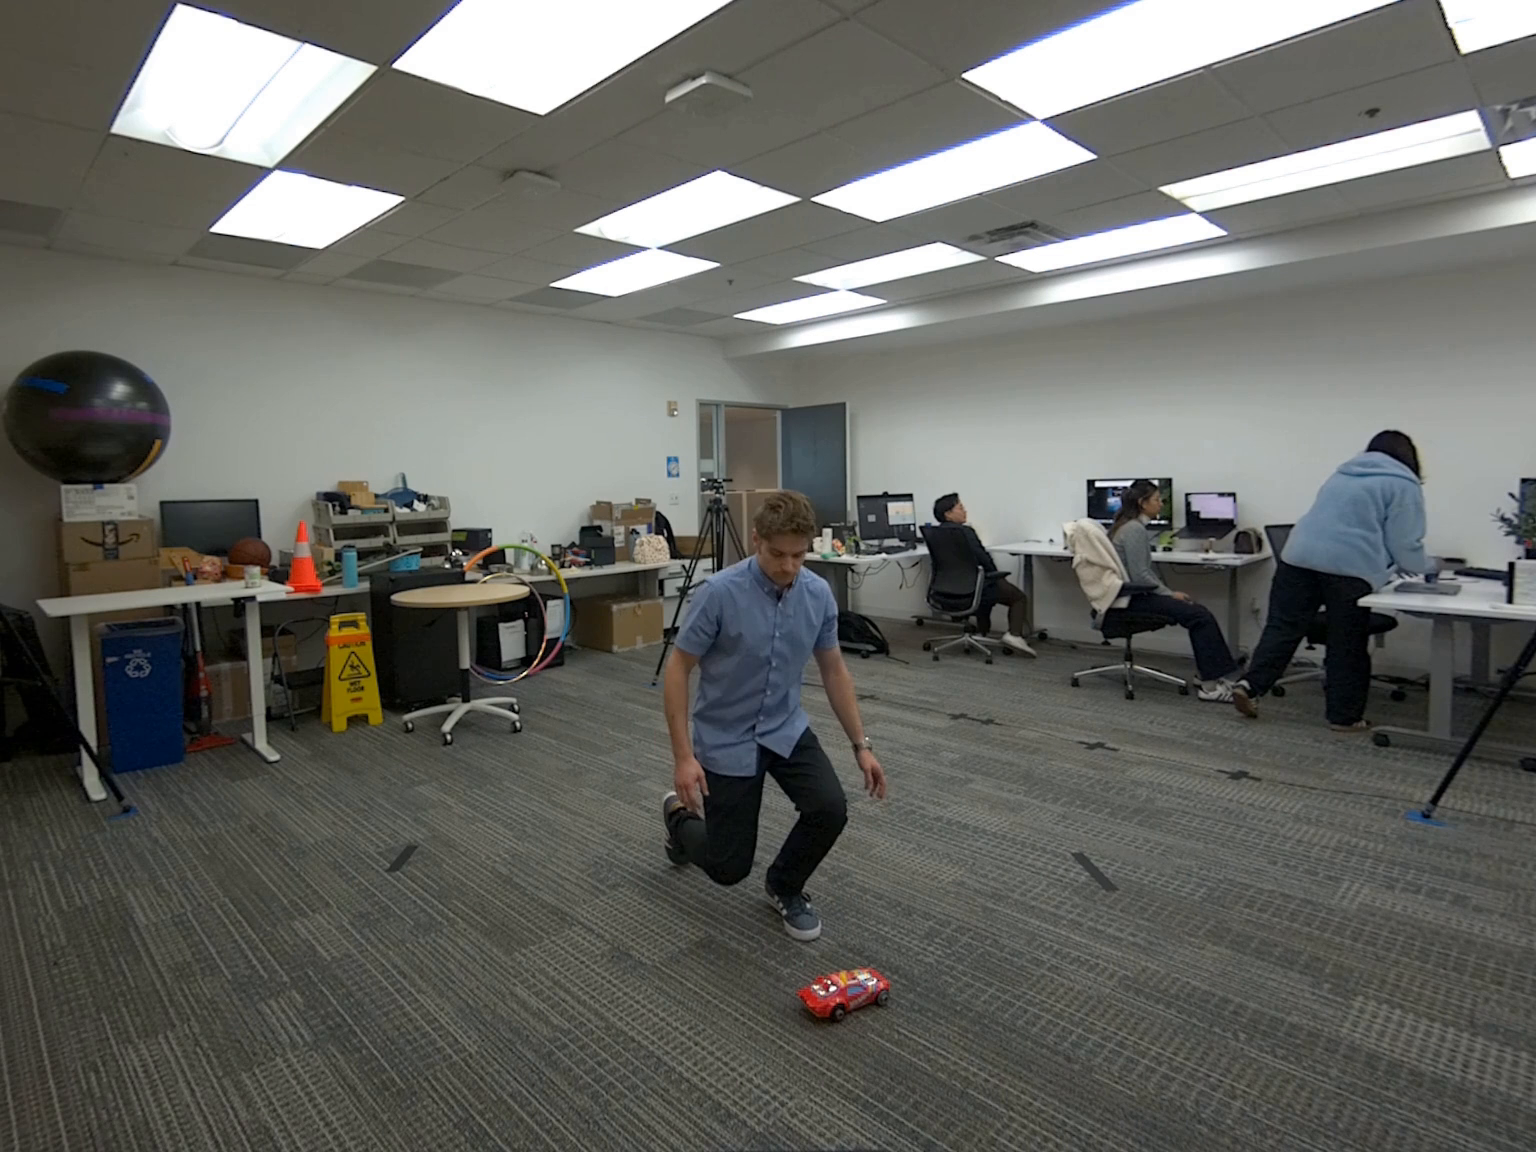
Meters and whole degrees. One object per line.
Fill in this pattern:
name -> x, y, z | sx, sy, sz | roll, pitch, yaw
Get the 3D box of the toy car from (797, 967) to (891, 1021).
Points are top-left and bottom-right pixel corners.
toy car -> 0.206, 1.111, 2.258 | 0.248, 0.083, 0.134 | 7, 2, -29
